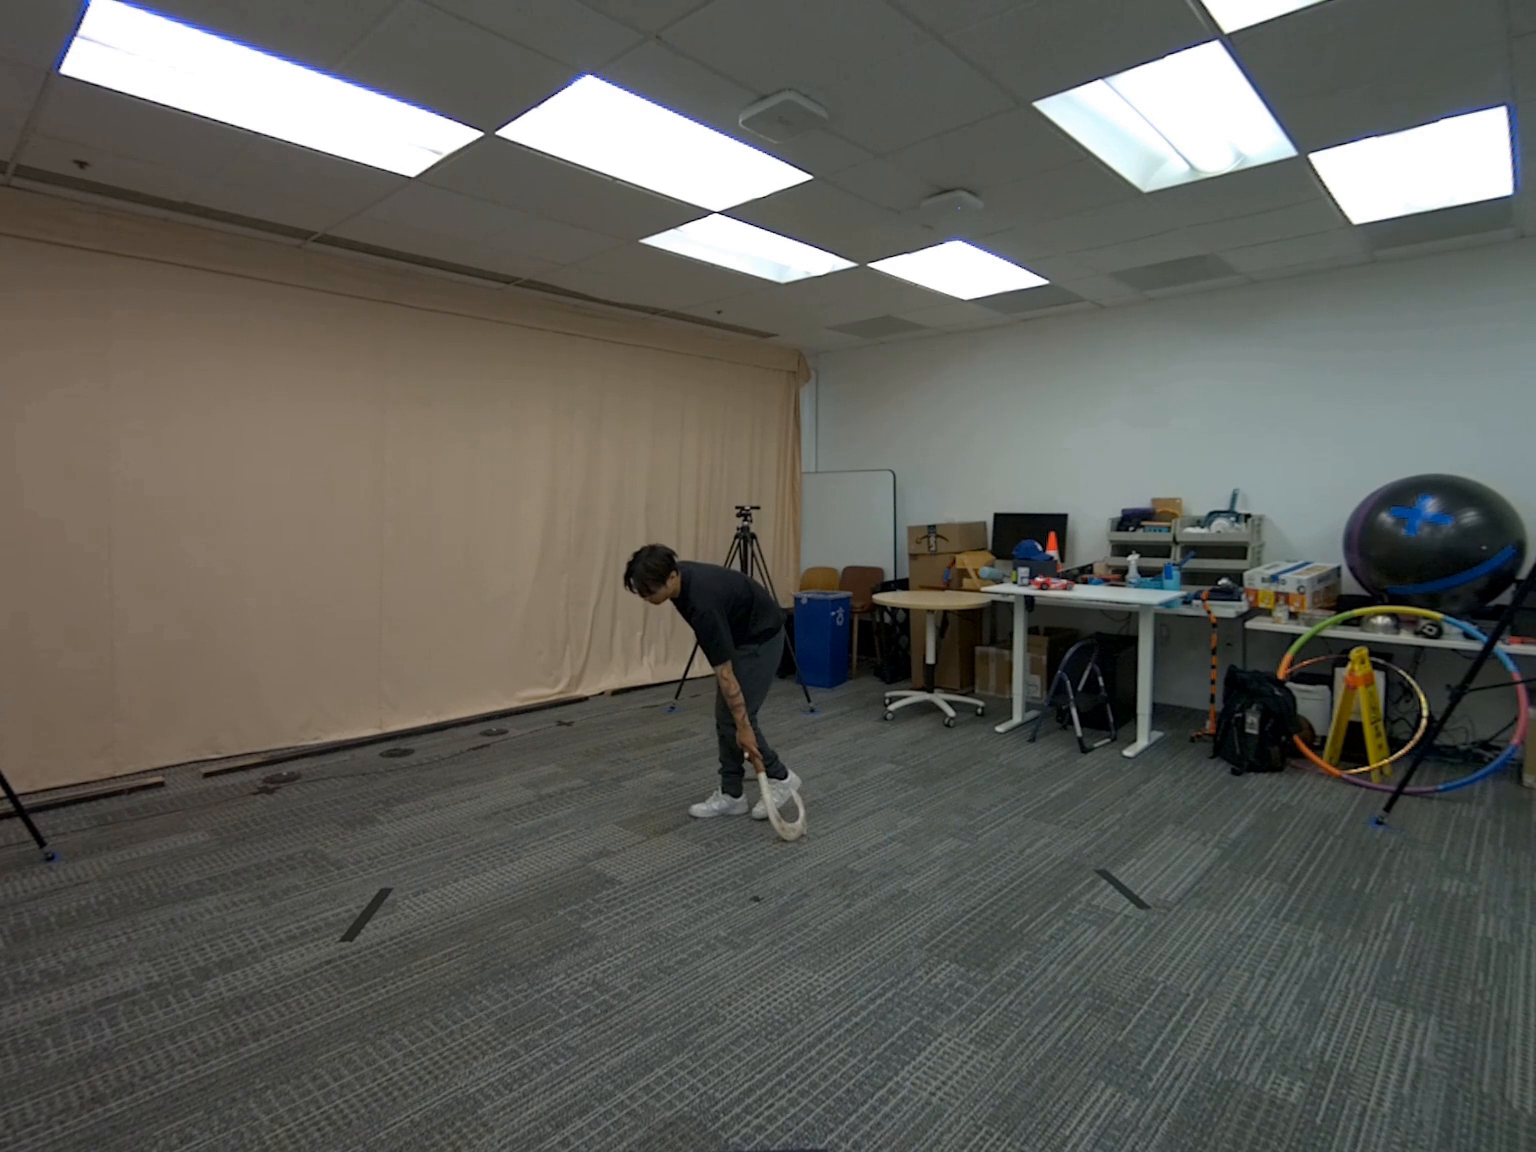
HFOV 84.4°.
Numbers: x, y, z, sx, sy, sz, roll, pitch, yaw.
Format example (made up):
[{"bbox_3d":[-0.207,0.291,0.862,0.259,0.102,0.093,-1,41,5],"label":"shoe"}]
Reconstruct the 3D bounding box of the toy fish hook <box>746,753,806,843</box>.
[{"bbox_3d":[0.031,0.875,3.592,0.049,0.514,0.218,-34,-17,32],"label":"toy fish hook"}]
